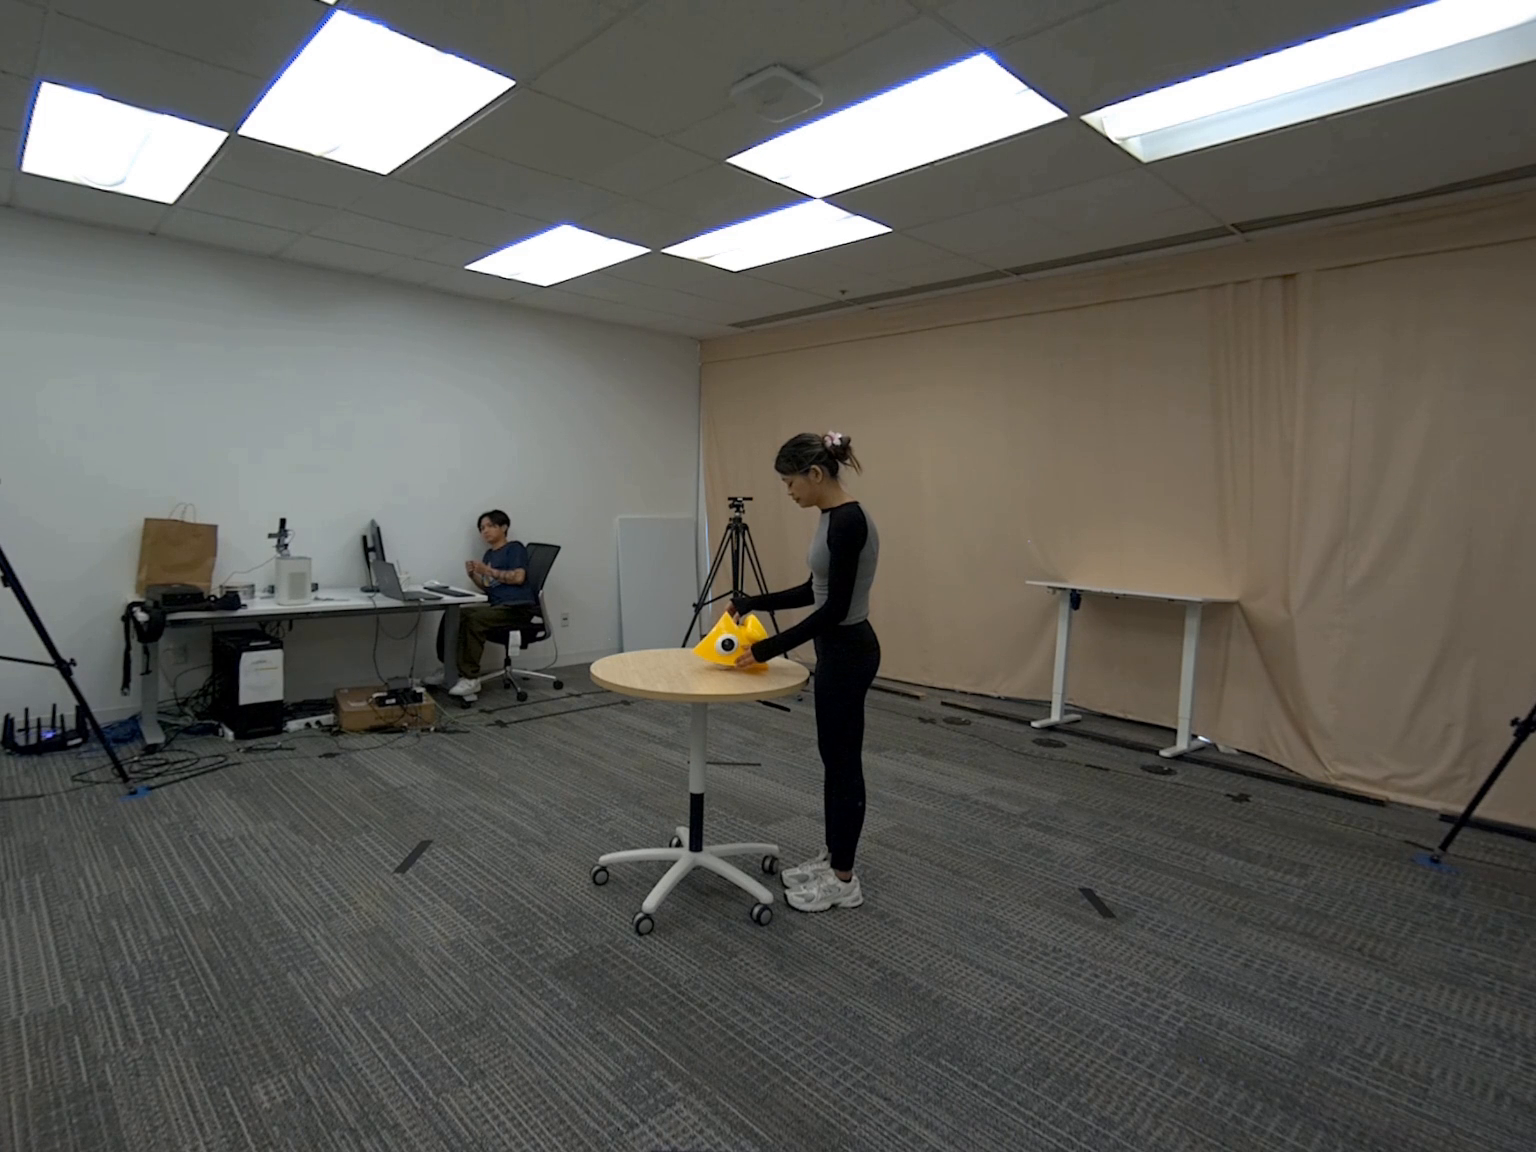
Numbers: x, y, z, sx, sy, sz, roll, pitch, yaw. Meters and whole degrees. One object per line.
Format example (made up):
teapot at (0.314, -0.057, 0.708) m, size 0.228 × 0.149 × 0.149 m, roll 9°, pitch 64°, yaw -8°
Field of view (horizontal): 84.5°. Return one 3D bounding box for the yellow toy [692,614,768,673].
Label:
yellow toy at (-0.134, 0.265, 2.939) m, size 0.228 × 0.200 × 0.199 m, roll -23°, pitch 54°, yaw -22°
